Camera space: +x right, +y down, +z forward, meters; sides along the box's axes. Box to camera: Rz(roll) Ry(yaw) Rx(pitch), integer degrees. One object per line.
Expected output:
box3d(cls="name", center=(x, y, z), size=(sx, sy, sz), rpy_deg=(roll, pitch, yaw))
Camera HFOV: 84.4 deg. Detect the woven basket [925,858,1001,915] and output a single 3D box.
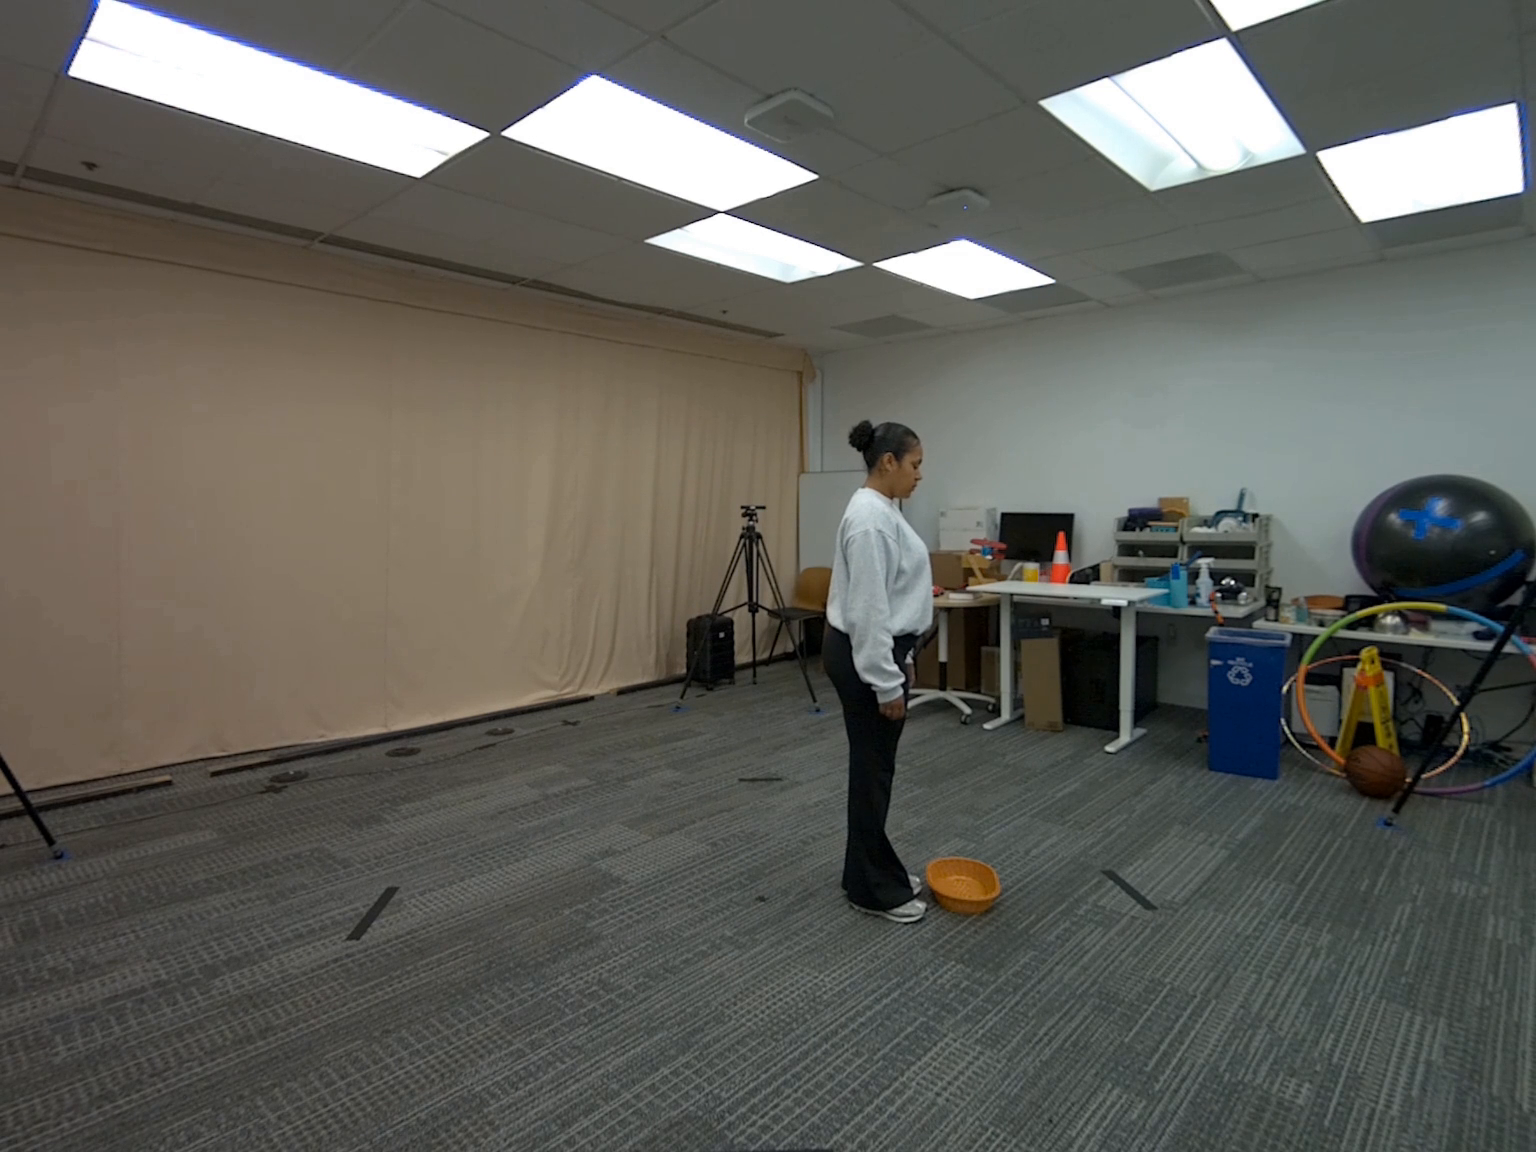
box3d(cls="woven basket", center=(0.693, 1.104, 2.989), size=(0.256, 0.073, 0.346), rpy_deg=(1, 5, 12))
